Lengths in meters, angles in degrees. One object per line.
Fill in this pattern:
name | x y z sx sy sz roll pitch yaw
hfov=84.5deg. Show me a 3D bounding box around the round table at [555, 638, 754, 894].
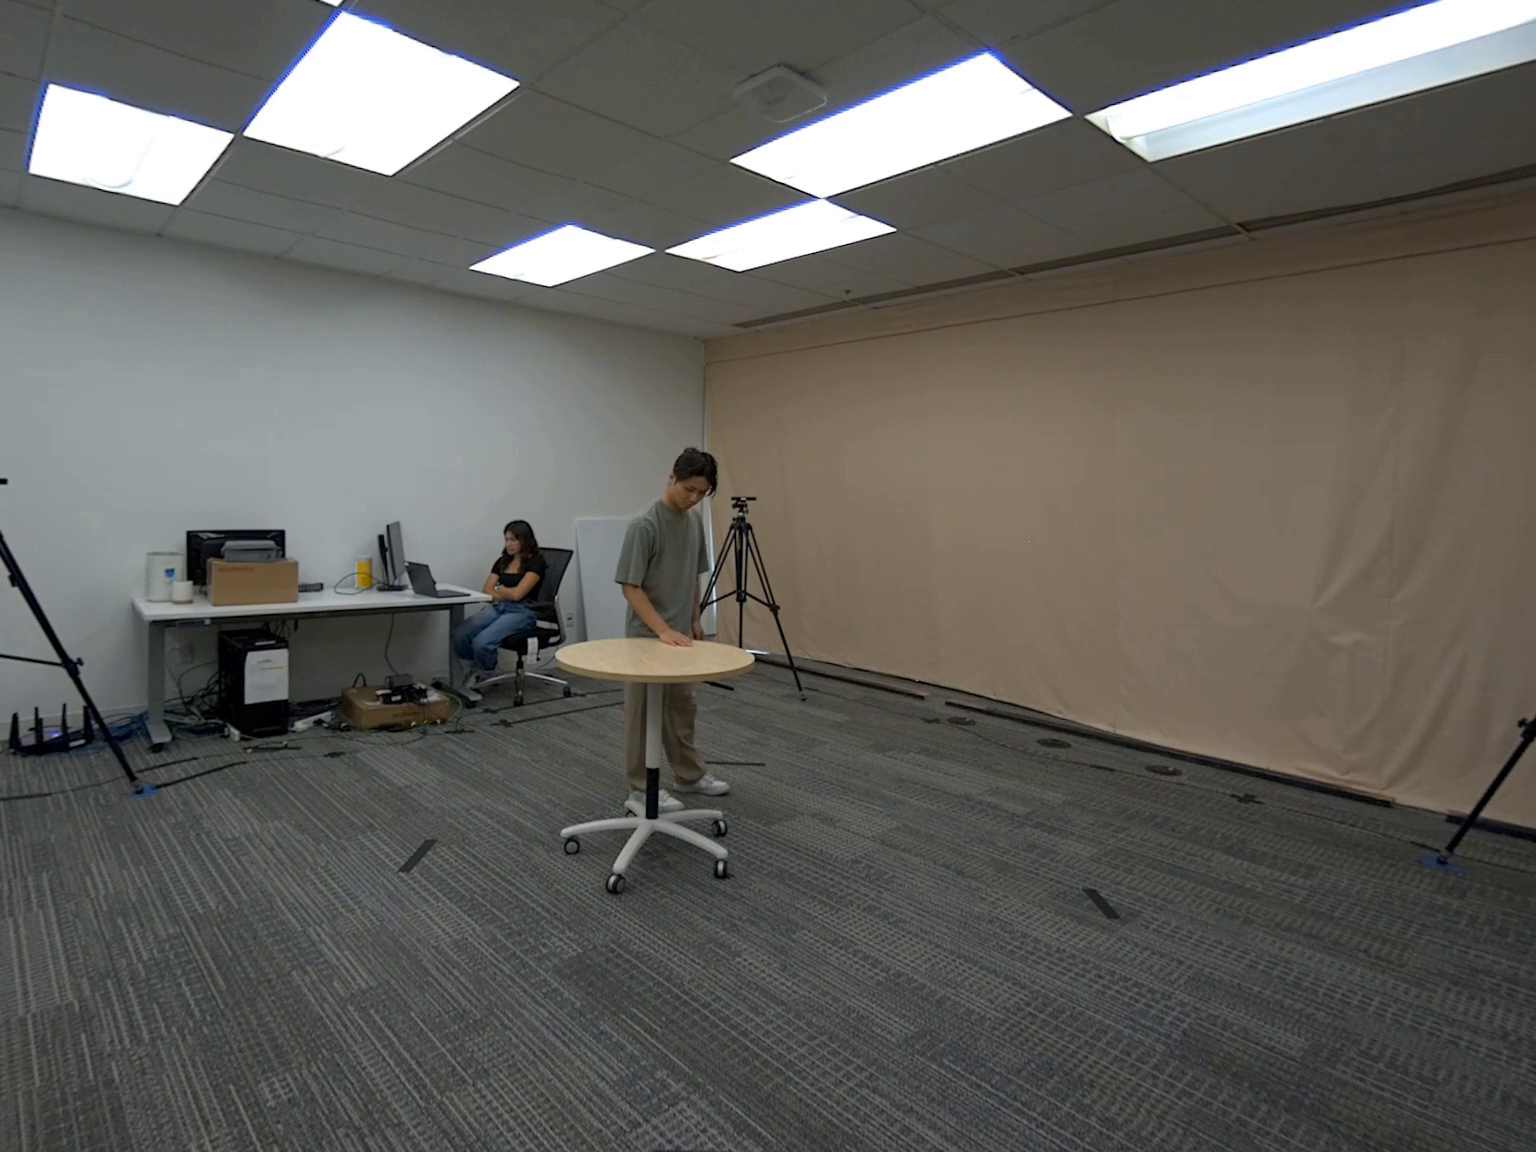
round table | -0.458 0.699 3.271 0.763 0.792 0.766 2 4 -1
